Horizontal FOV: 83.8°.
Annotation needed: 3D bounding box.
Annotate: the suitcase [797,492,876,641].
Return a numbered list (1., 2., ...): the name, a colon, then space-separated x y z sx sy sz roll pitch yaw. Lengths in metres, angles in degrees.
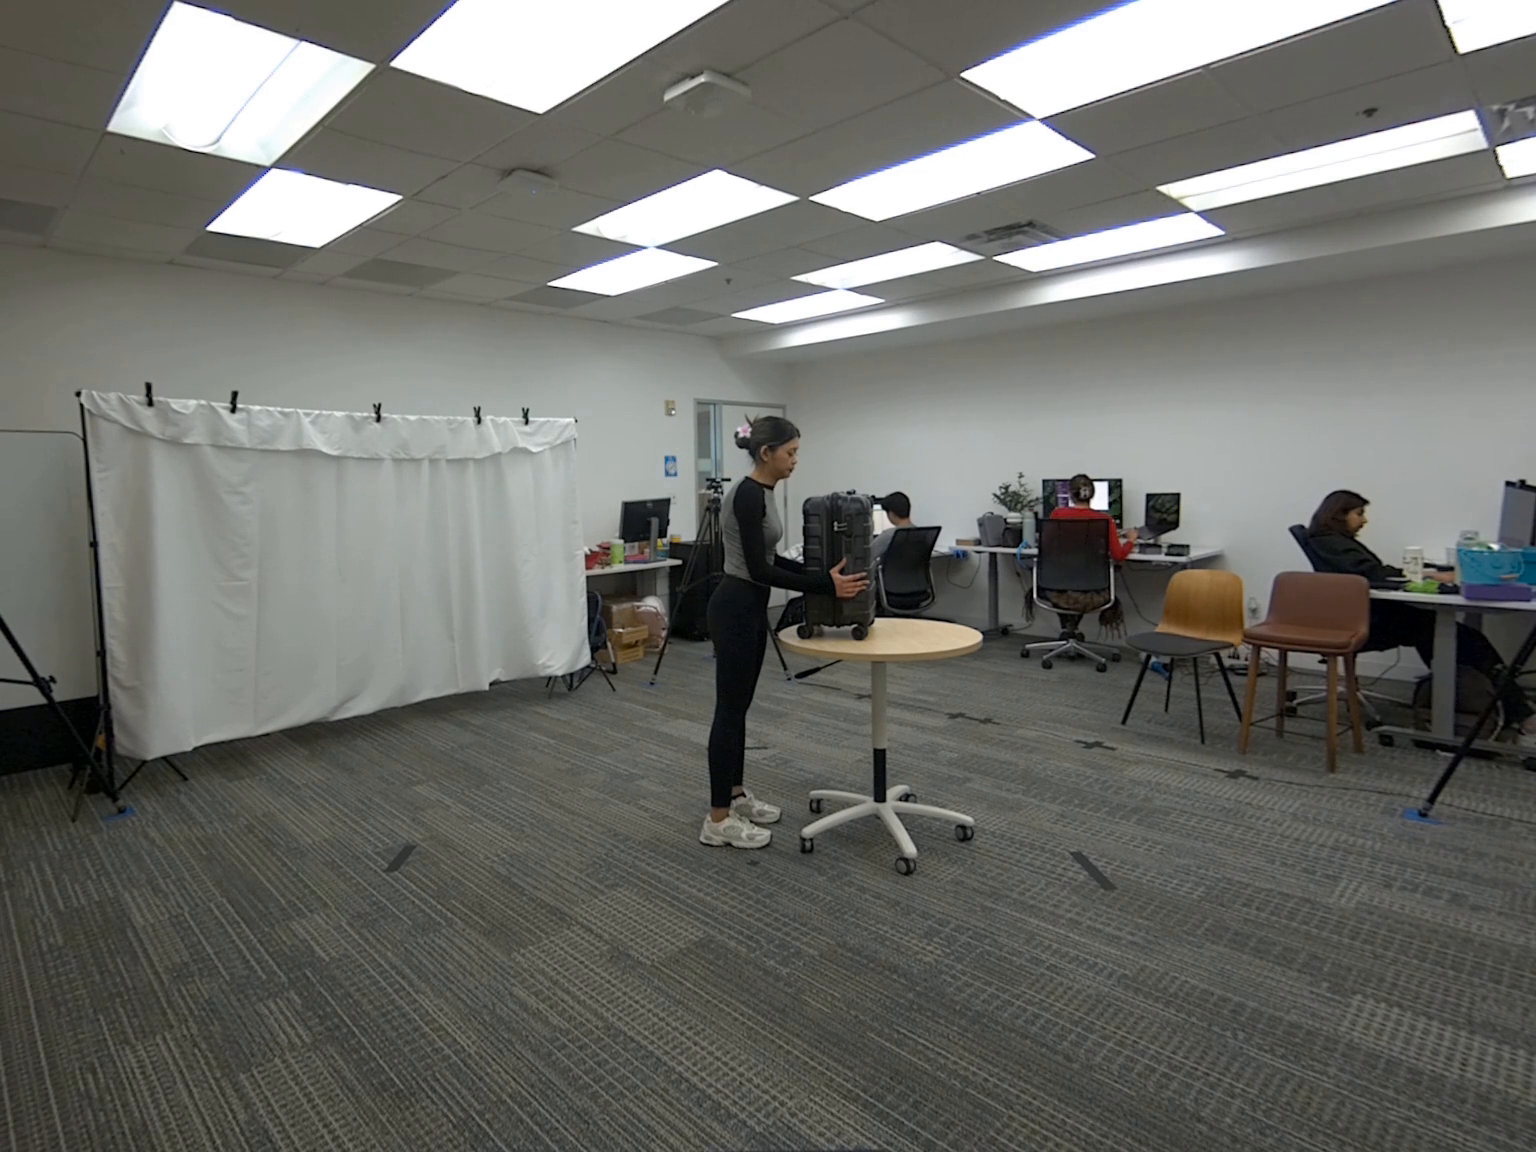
1. suitcase: 0.271 -0.056 3.296 0.251 0.547 0.372 1 5 12
